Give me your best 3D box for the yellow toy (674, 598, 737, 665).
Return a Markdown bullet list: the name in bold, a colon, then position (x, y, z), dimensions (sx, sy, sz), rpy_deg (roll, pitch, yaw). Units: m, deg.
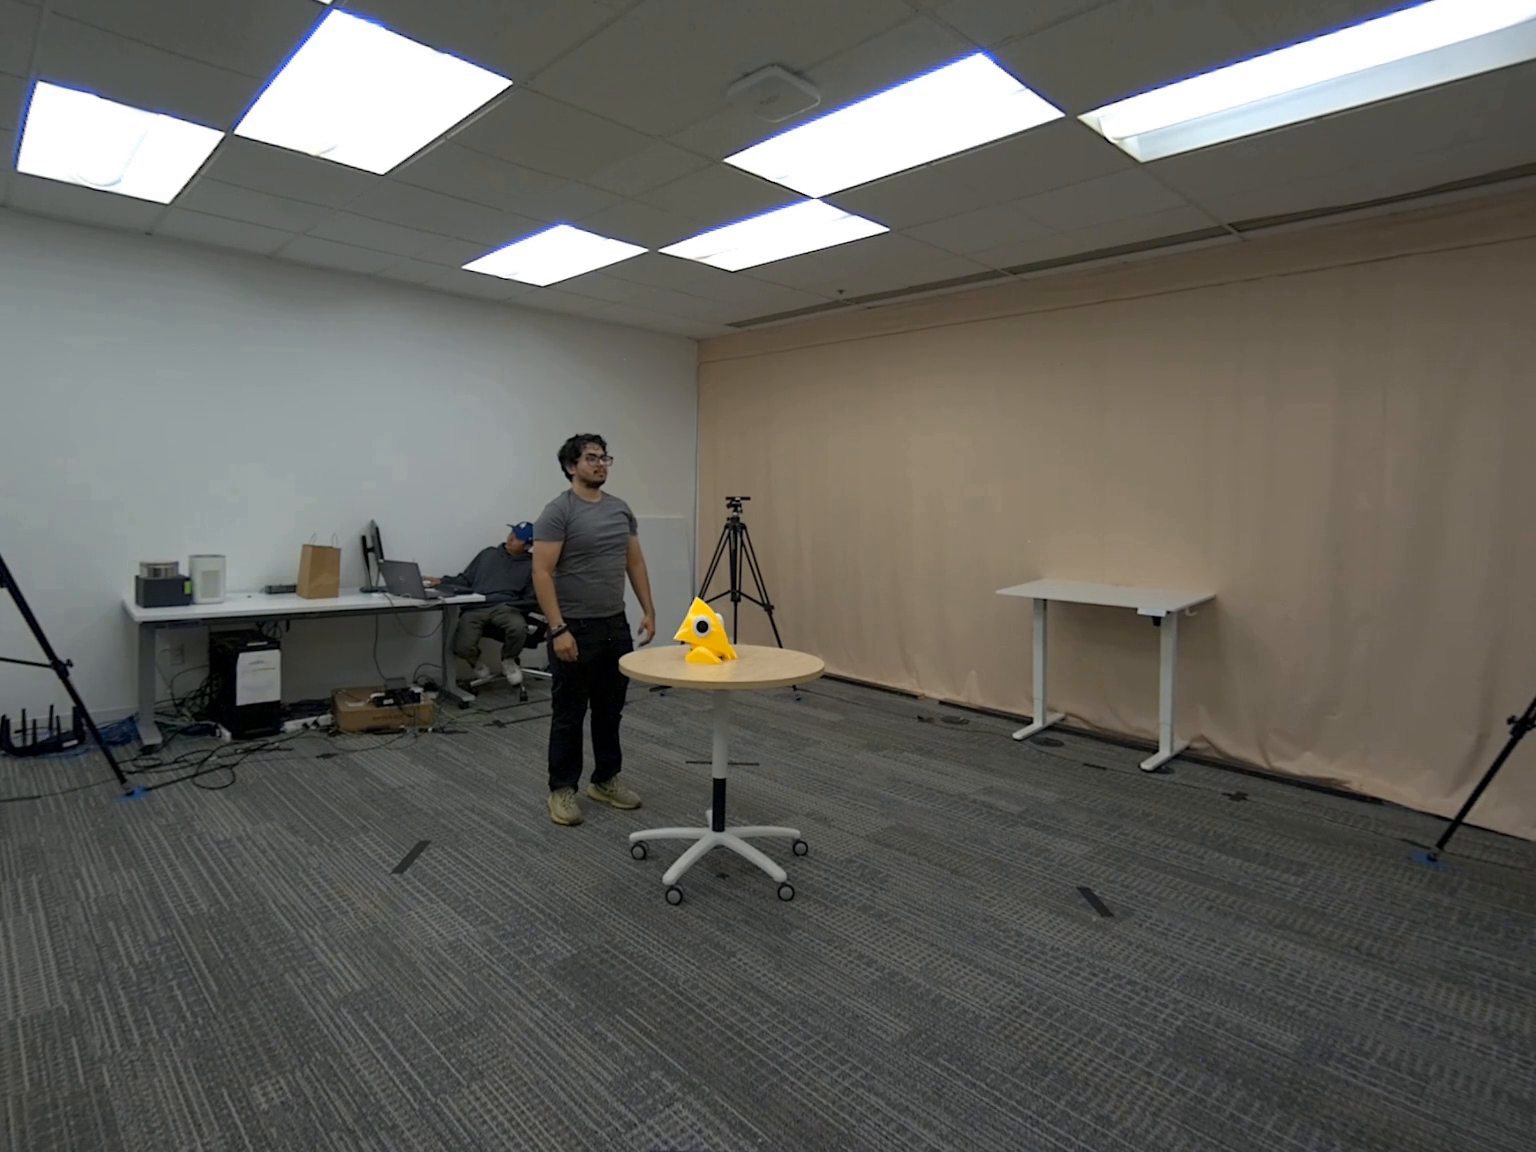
- **yellow toy**: position (-0.230, 0.199, 3.179), dimensions (0.197, 0.230, 0.201), rpy_deg (4, 4, 30)
